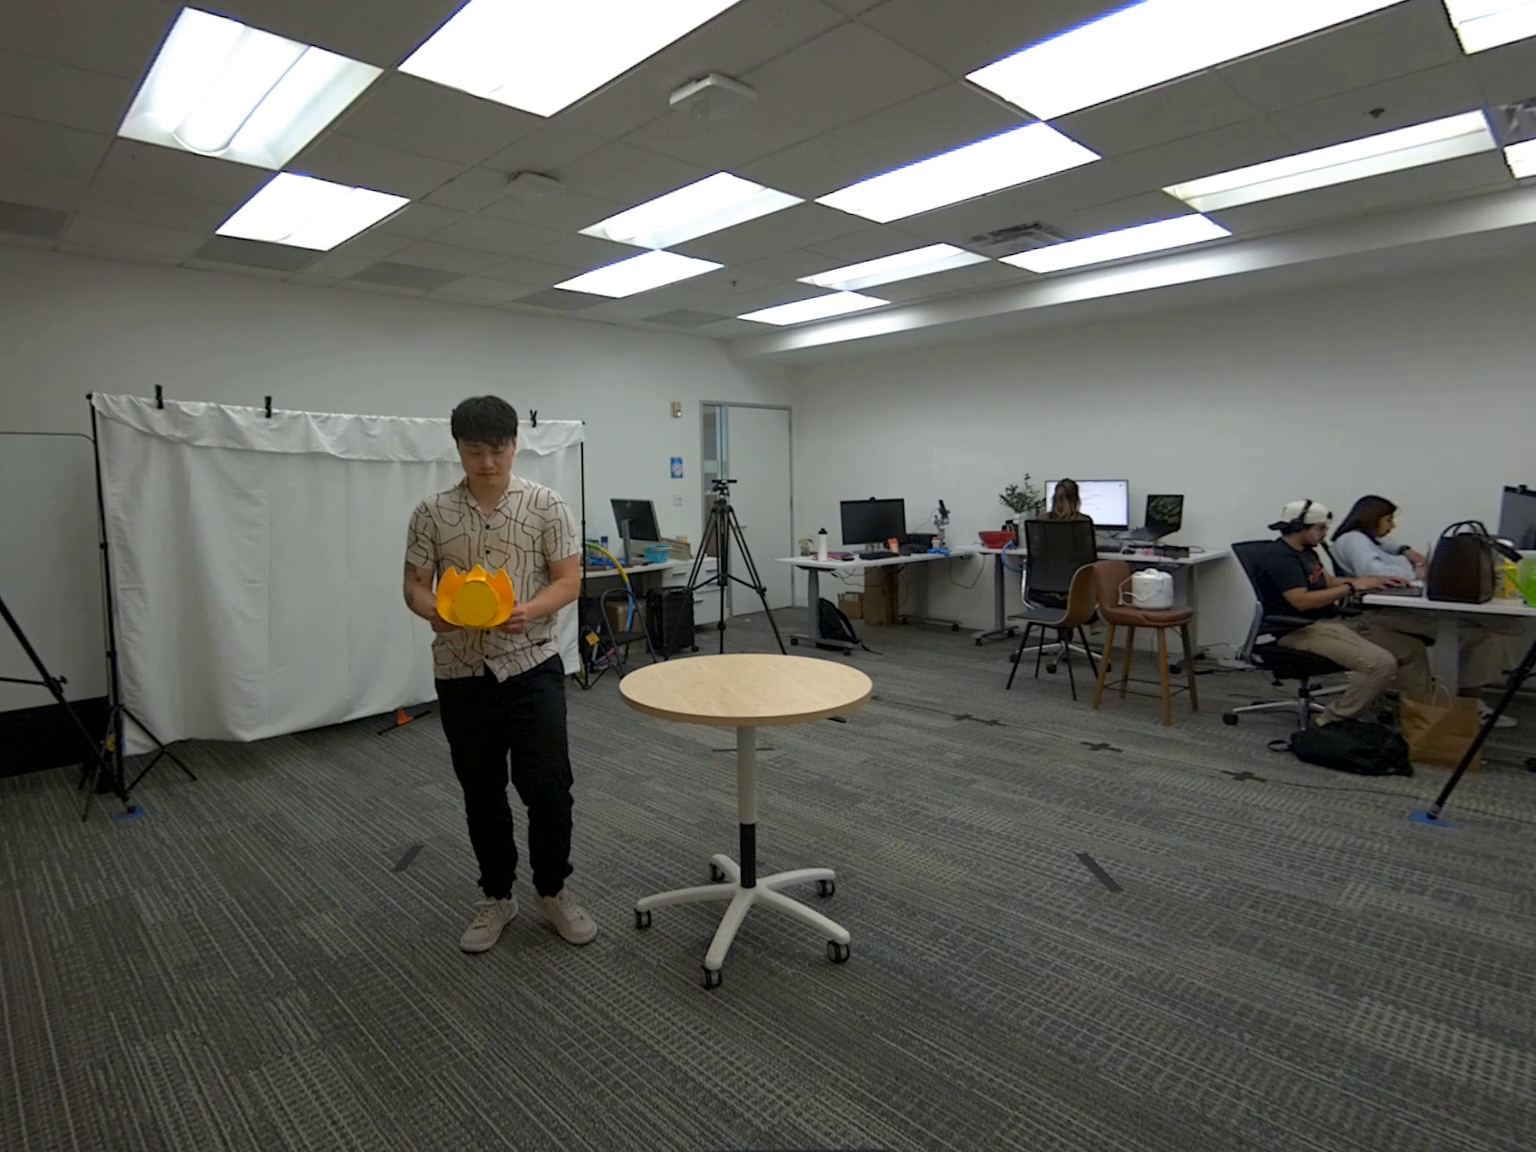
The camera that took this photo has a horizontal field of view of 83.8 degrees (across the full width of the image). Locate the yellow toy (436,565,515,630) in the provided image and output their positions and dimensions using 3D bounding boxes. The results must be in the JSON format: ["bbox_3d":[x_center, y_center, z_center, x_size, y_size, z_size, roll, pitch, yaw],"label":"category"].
[{"bbox_3d":[-0.806,0.047,2.413,0.203,0.191,0.234,3,9,-8],"label":"yellow toy"}]
